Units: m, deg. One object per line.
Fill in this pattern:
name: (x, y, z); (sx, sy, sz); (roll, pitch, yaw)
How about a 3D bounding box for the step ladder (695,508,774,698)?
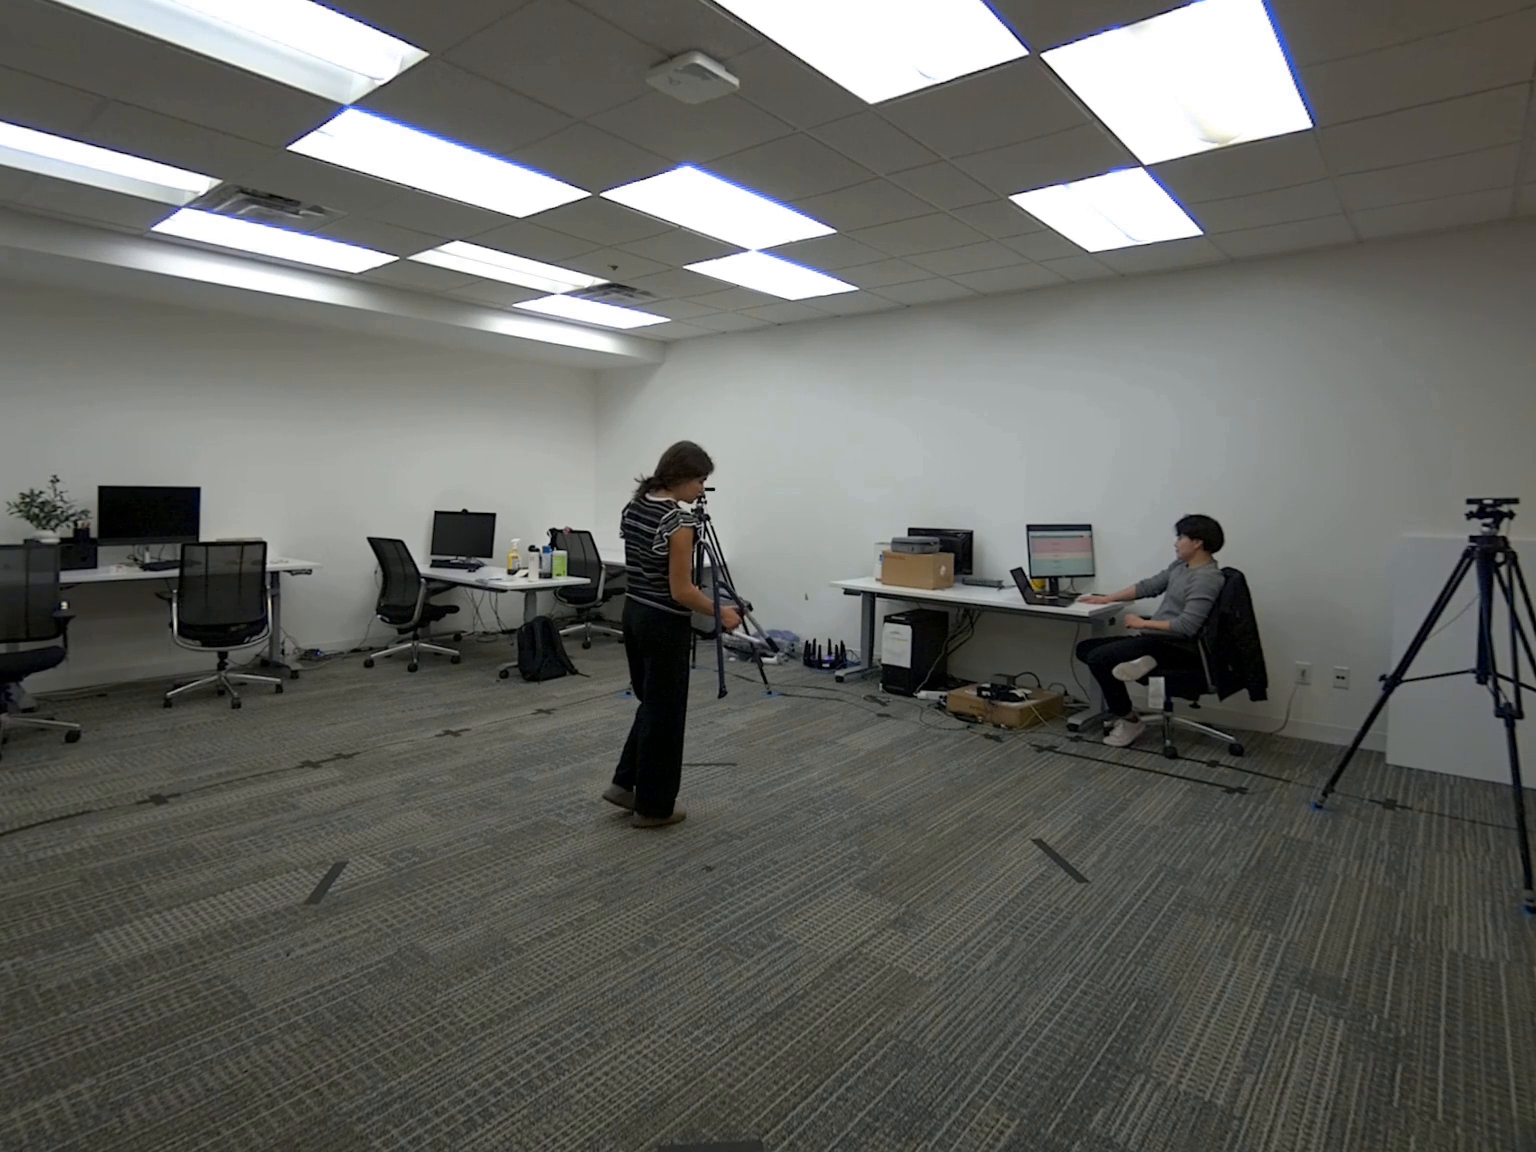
step ladder: (-0.298, 0.119, 3.599); (0.346, 0.589, 0.446); (-34, 27, -27)
